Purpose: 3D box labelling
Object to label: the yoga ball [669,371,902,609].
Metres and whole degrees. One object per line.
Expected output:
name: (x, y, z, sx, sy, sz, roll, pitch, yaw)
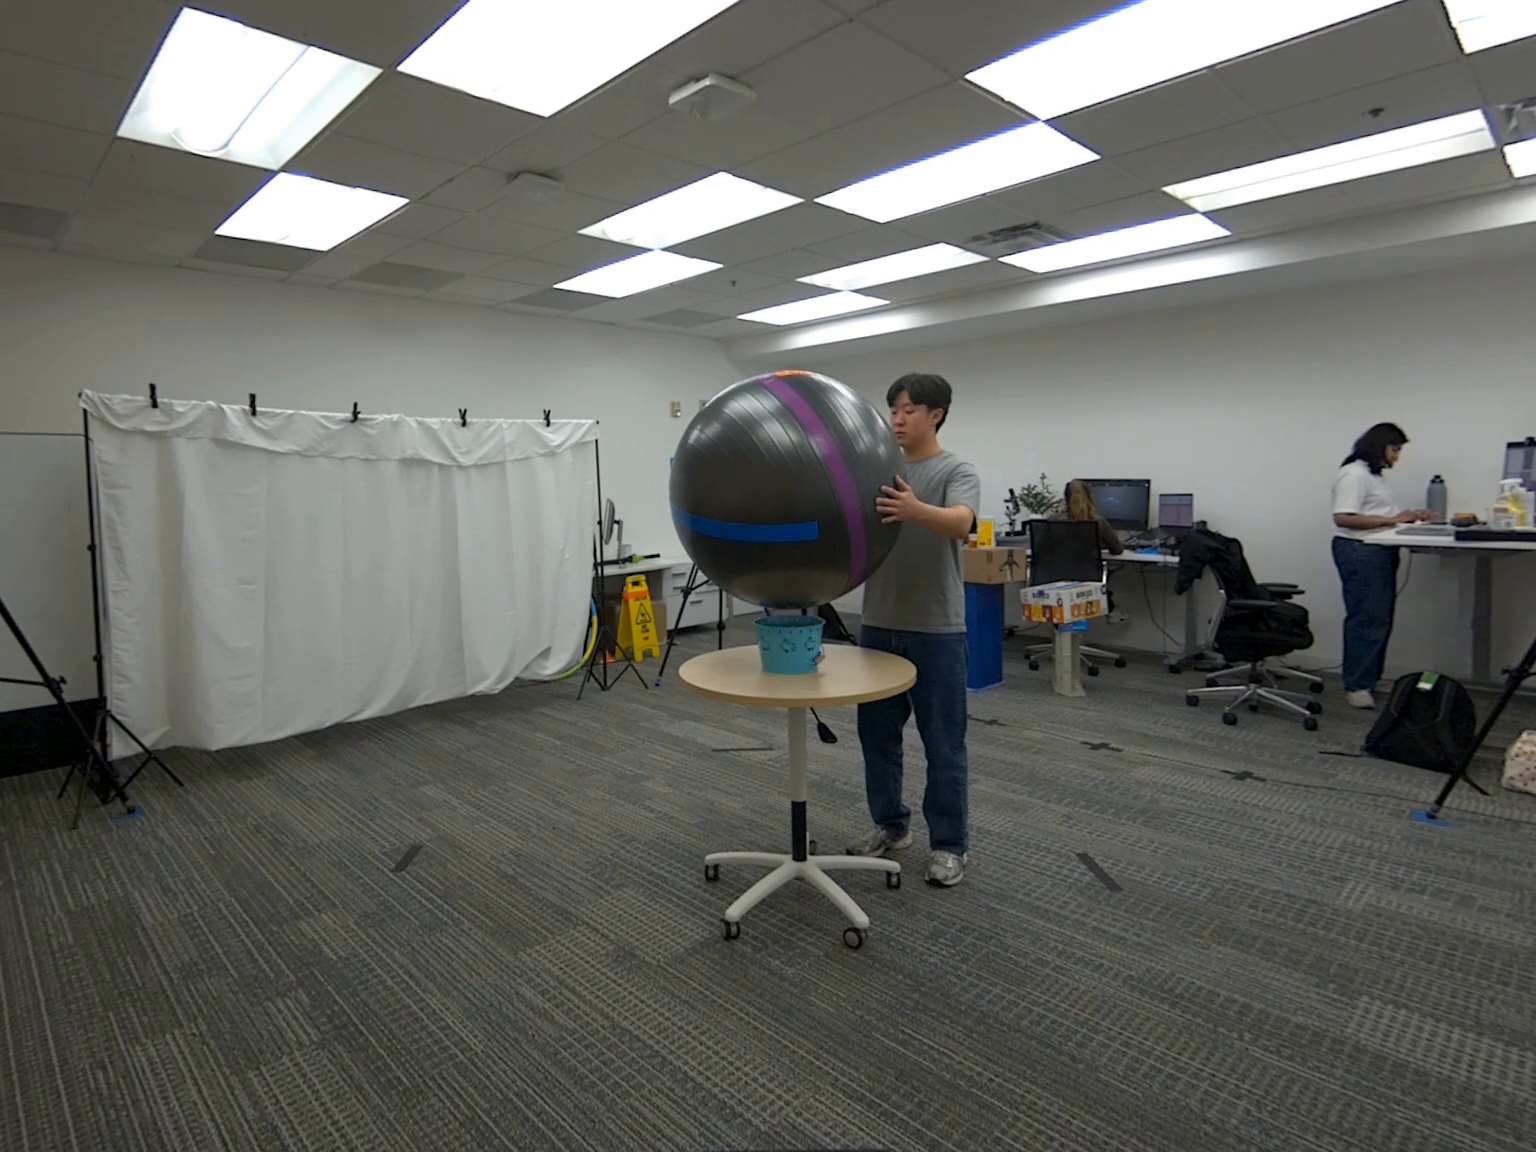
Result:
yoga ball: (0.063, -0.275, 2.740, 0.757, 0.755, 0.762, -1, 5, -2)
